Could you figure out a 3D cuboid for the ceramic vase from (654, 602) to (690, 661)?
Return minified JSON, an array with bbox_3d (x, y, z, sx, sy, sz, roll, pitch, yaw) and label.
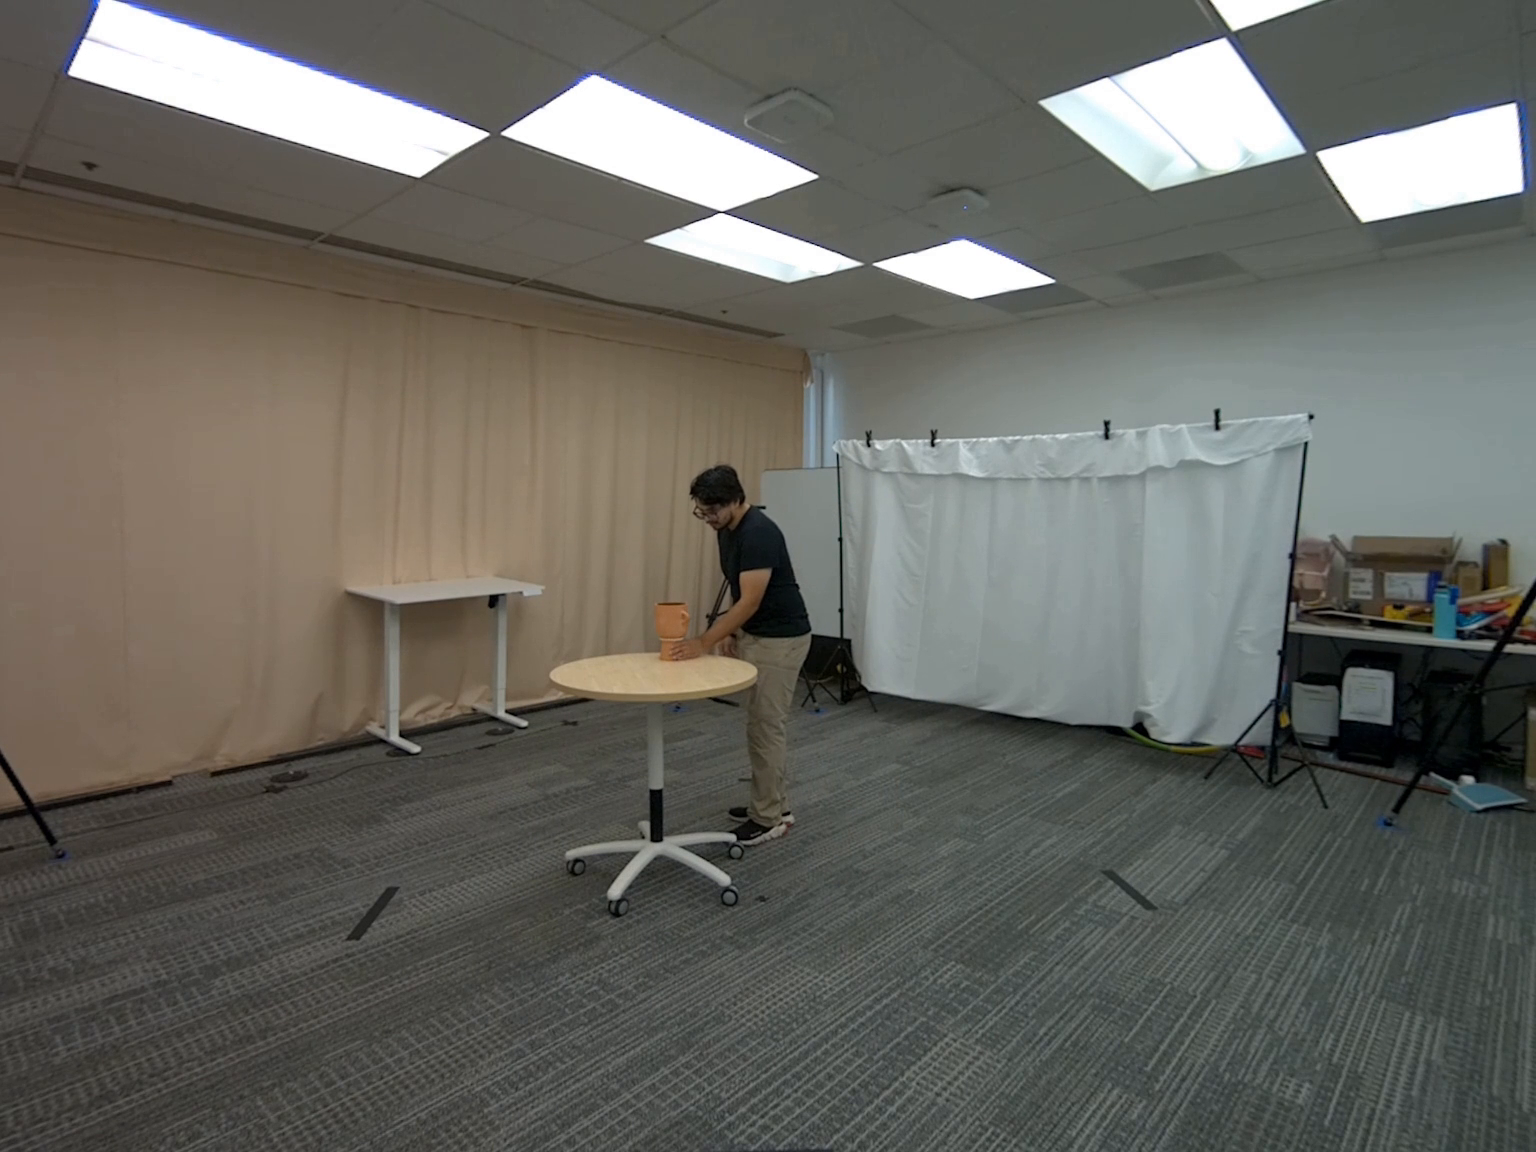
[{"bbox_3d":[-0.384,0.222,3.364,0.133,0.219,0.161,-3,3,-12],"label":"ceramic vase"}]
